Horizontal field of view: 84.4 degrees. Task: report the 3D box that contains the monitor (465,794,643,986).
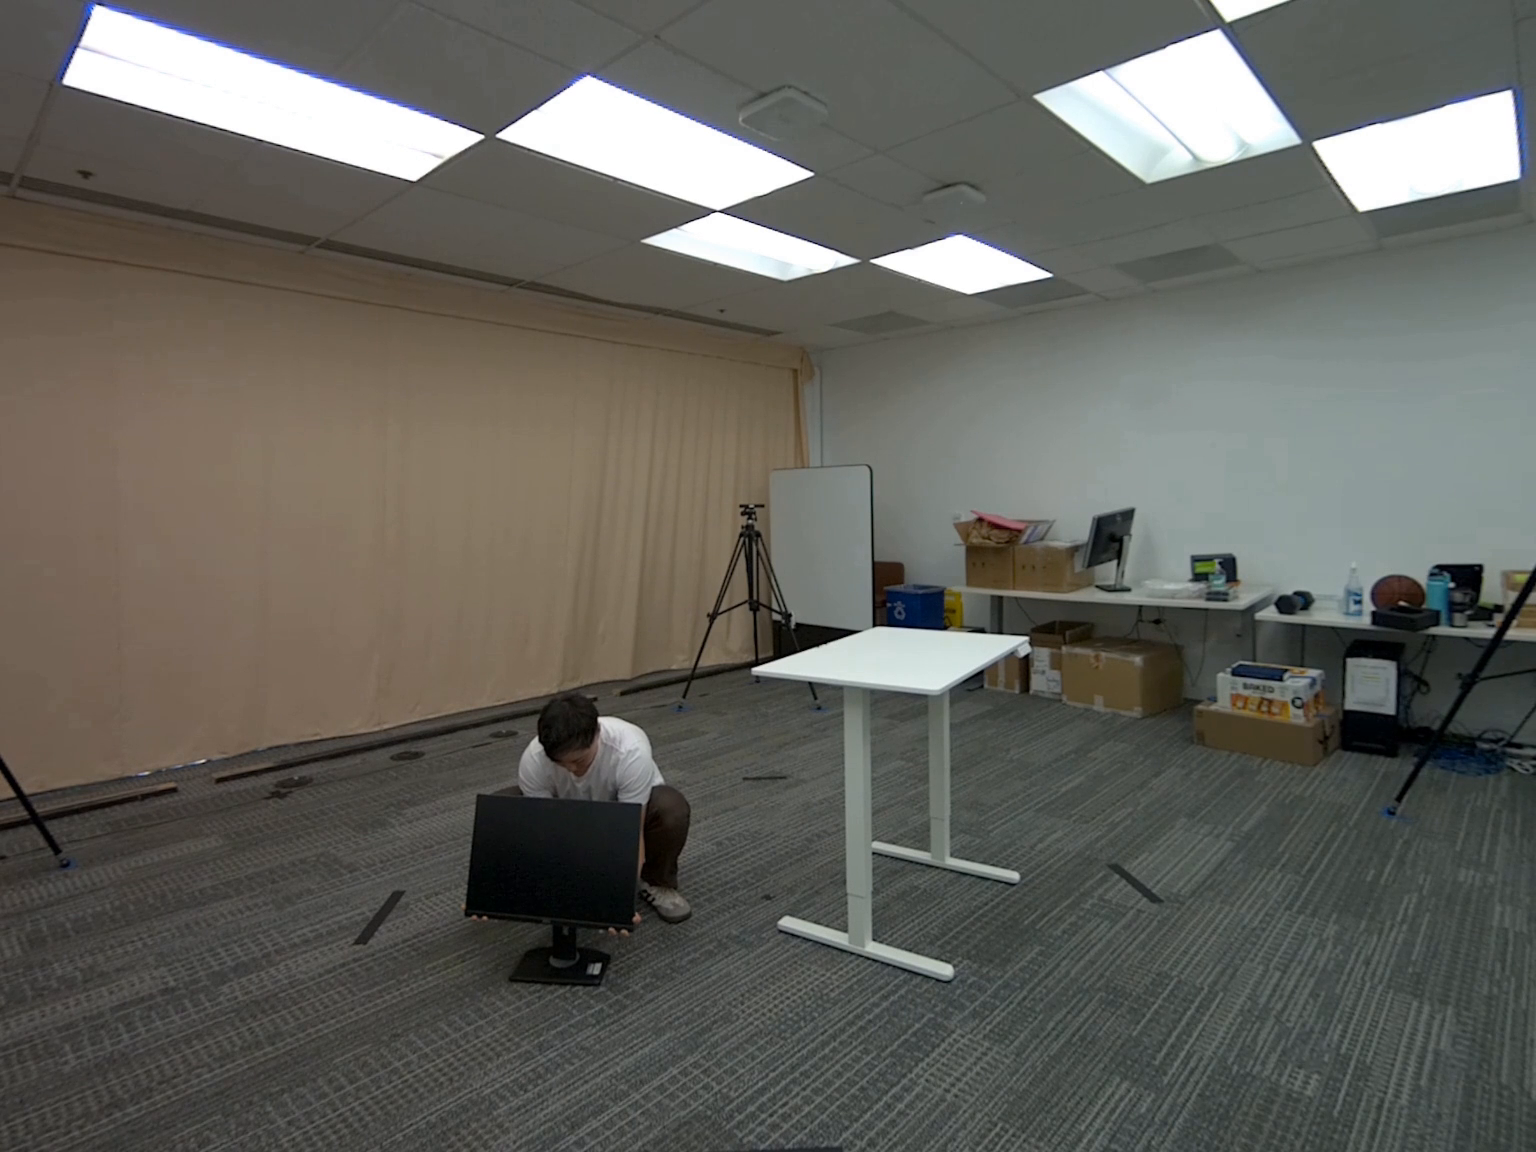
[{"bbox_3d":[-0.633,0.930,2.535,0.545,0.522,0.185,-2,2,10],"label":"monitor"}]
